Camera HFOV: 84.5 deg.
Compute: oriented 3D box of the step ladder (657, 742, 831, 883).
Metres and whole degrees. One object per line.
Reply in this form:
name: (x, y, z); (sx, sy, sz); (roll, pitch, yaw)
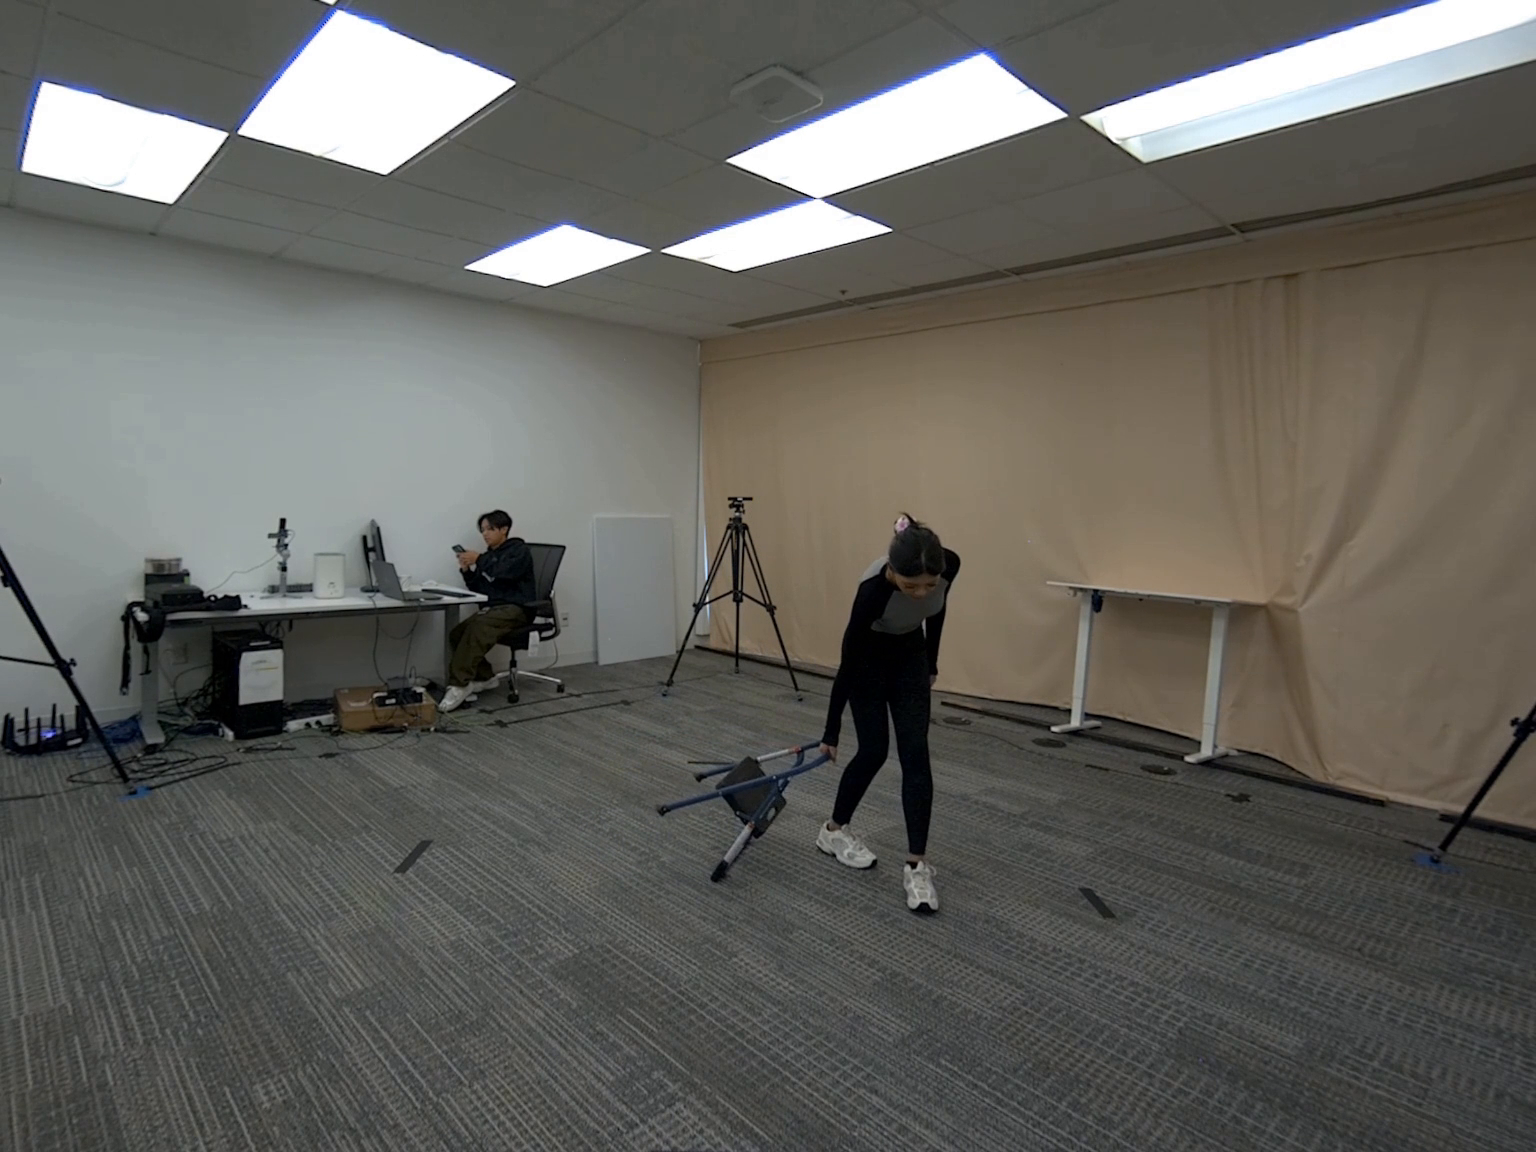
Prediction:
step ladder: (-0.042, 0.780, 3.186); (0.607, 0.353, 0.426); (-41, -8, 15)
